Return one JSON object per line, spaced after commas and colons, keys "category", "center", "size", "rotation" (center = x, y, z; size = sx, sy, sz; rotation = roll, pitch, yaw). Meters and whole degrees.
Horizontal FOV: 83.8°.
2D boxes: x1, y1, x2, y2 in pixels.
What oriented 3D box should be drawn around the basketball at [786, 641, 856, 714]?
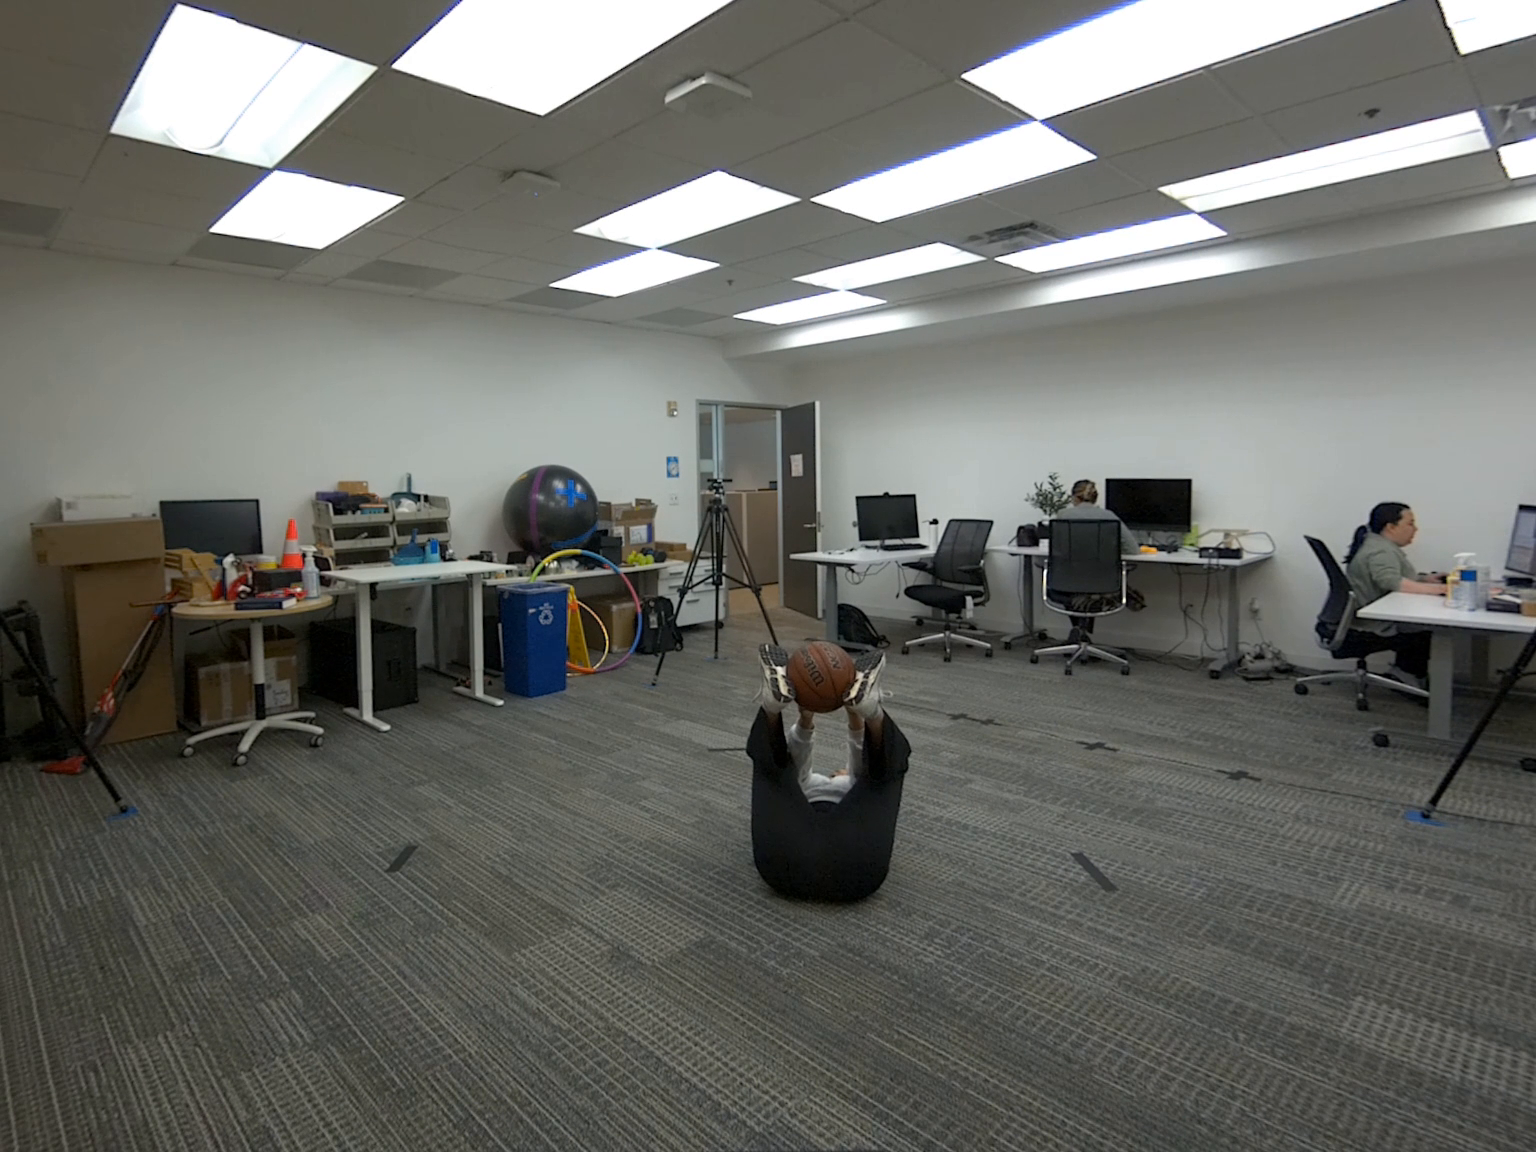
{"category": "basketball", "center": [0.178, 0.338, 2.871], "size": [0.236, 0.235, 0.236], "rotation": [-4, 2, -2]}
